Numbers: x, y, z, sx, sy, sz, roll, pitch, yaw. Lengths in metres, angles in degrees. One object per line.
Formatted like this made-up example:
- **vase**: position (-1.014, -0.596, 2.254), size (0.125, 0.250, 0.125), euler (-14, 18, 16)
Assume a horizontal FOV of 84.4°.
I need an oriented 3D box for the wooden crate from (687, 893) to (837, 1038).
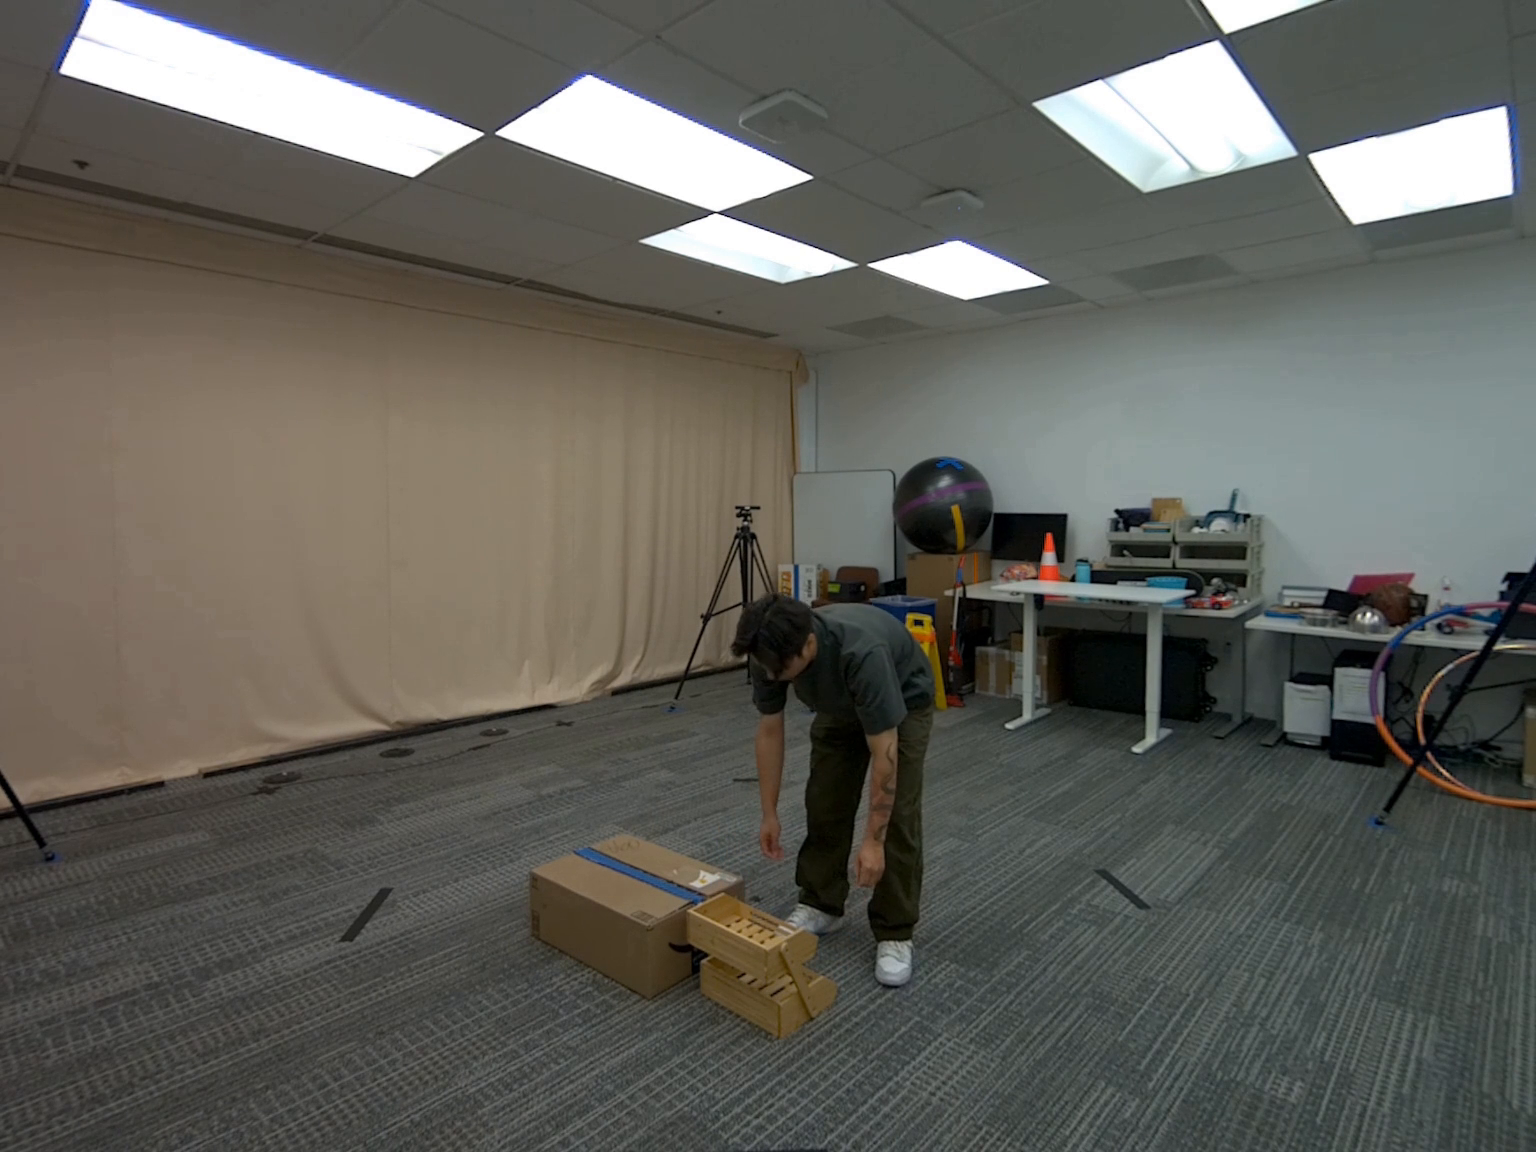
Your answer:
- **wooden crate**: position (-0.007, 1.055, 2.371), size (0.335, 0.272, 0.293), euler (4, 6, 43)
